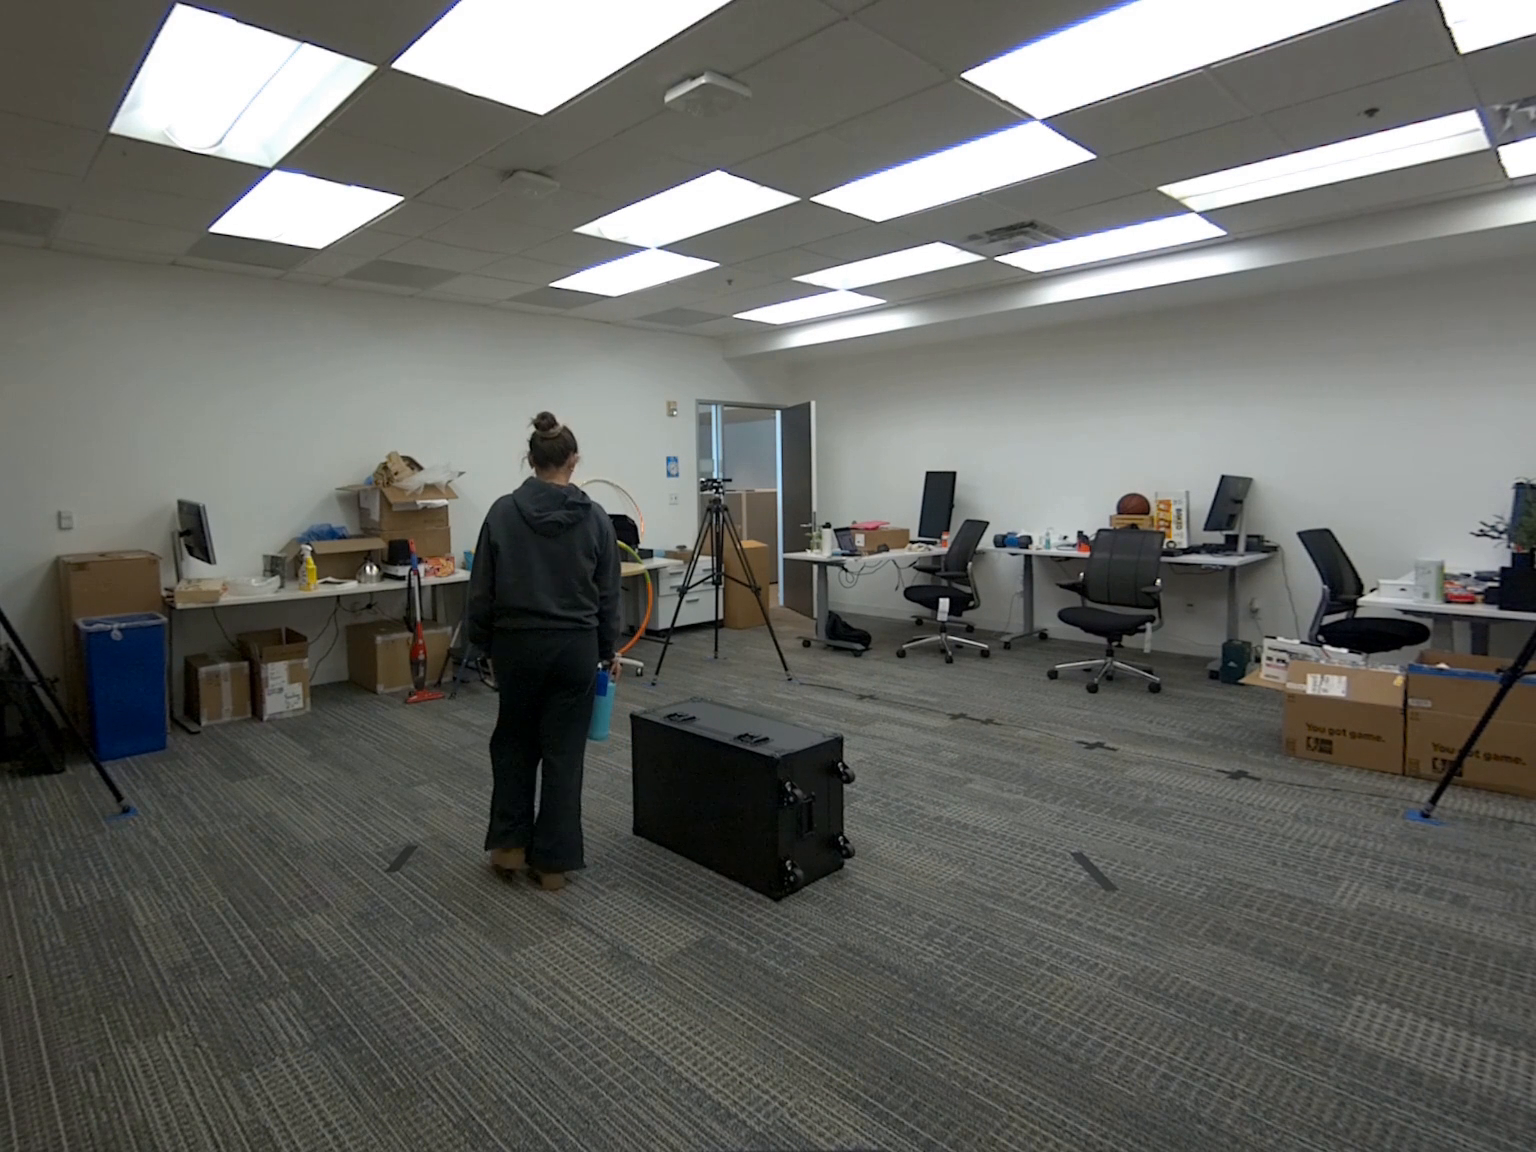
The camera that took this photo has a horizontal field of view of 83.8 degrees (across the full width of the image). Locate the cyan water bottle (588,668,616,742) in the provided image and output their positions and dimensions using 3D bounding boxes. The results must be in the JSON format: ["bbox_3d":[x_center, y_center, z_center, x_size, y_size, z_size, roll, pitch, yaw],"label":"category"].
[{"bbox_3d":[-0.623,0.476,3.194,0.092,0.282,0.093,8,6,-3],"label":"cyan water bottle"}]
